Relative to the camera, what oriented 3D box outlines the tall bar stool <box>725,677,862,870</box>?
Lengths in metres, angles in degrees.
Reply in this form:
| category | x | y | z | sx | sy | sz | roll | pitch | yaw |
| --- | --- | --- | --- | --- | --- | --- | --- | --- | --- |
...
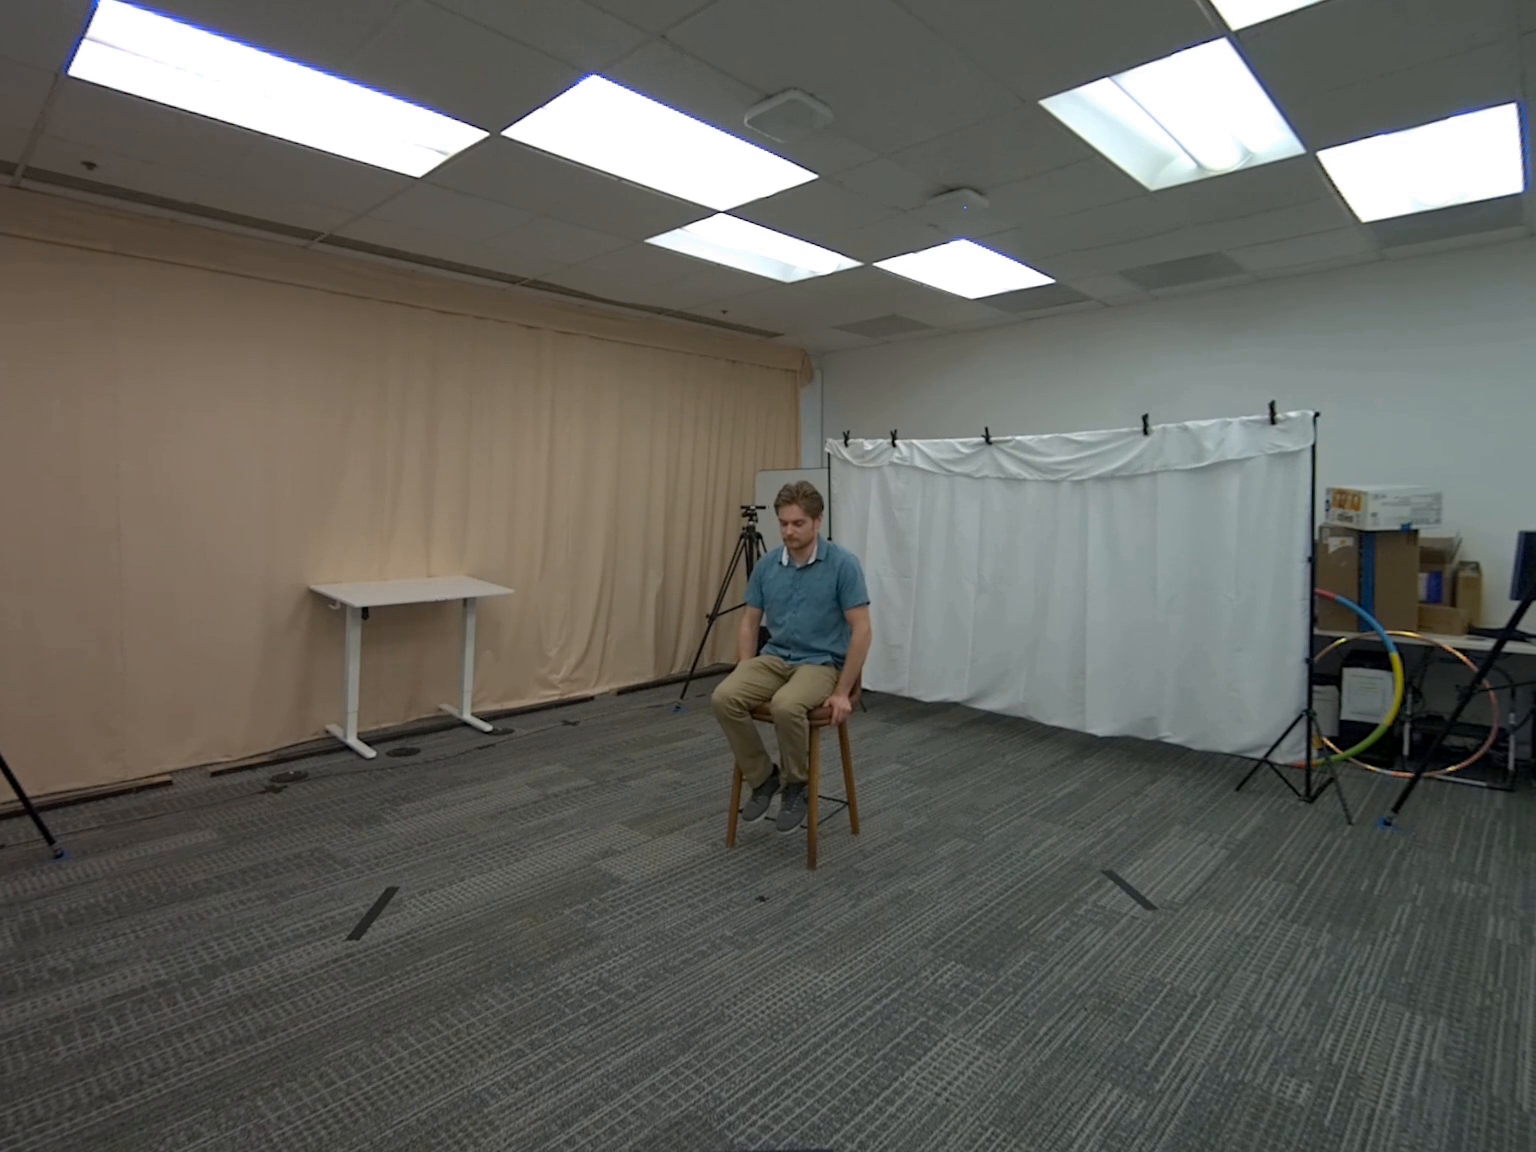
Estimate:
| category | x | y | z | sx | sy | sz | roll | pitch | yaw |
| --- | --- | --- | --- | --- | --- | --- | --- | --- | --- |
| tall bar stool | 0.127 | 0.664 | 3.494 | 0.471 | 0.889 | 0.453 | 3 | 2 | 34 |
